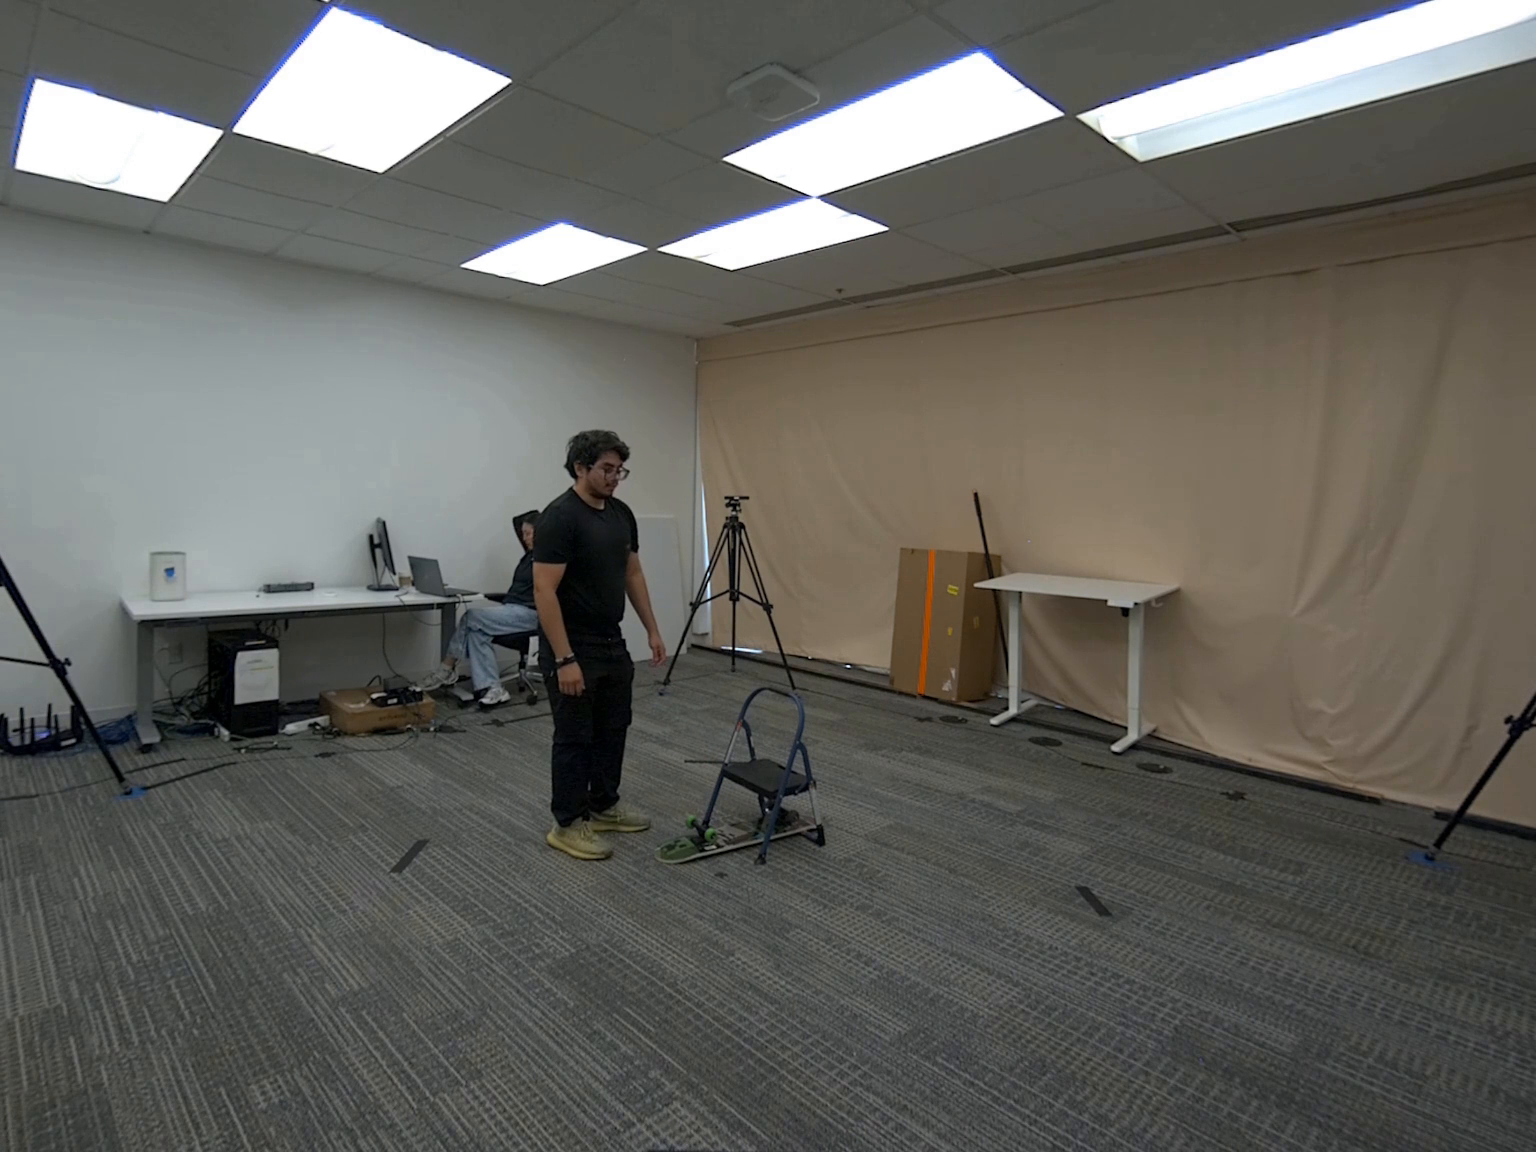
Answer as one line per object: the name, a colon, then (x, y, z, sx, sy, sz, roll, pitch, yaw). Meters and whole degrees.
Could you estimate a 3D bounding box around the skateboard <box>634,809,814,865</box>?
skateboard: (-0.119, 1.025, 3.439, 0.769, 0.110, 0.198, -3, 7, -35)
